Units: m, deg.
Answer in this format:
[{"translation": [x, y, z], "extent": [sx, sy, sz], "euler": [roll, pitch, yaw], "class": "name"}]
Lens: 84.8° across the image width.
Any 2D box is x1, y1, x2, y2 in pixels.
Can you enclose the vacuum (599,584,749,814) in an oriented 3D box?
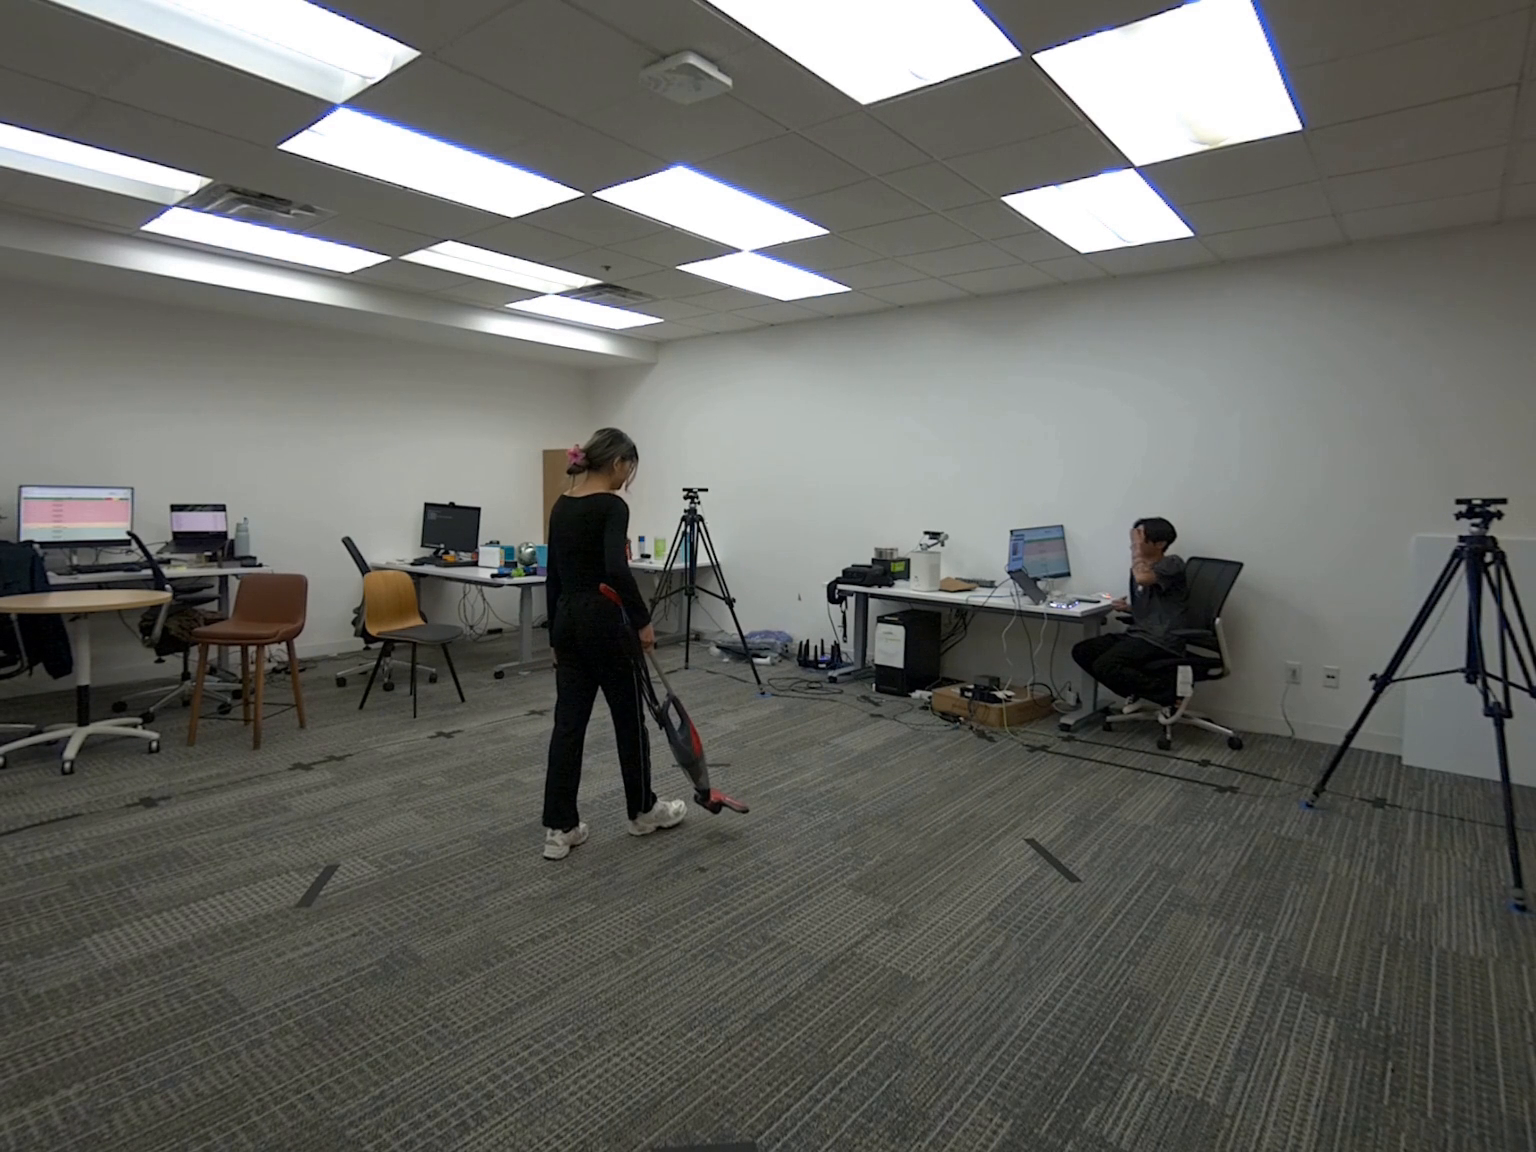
[{"translation": [-0.398, 0.490, 3.250], "extent": [0.143, 1.023, 0.261], "euler": [-34, 23, -28], "class": "vacuum"}]
